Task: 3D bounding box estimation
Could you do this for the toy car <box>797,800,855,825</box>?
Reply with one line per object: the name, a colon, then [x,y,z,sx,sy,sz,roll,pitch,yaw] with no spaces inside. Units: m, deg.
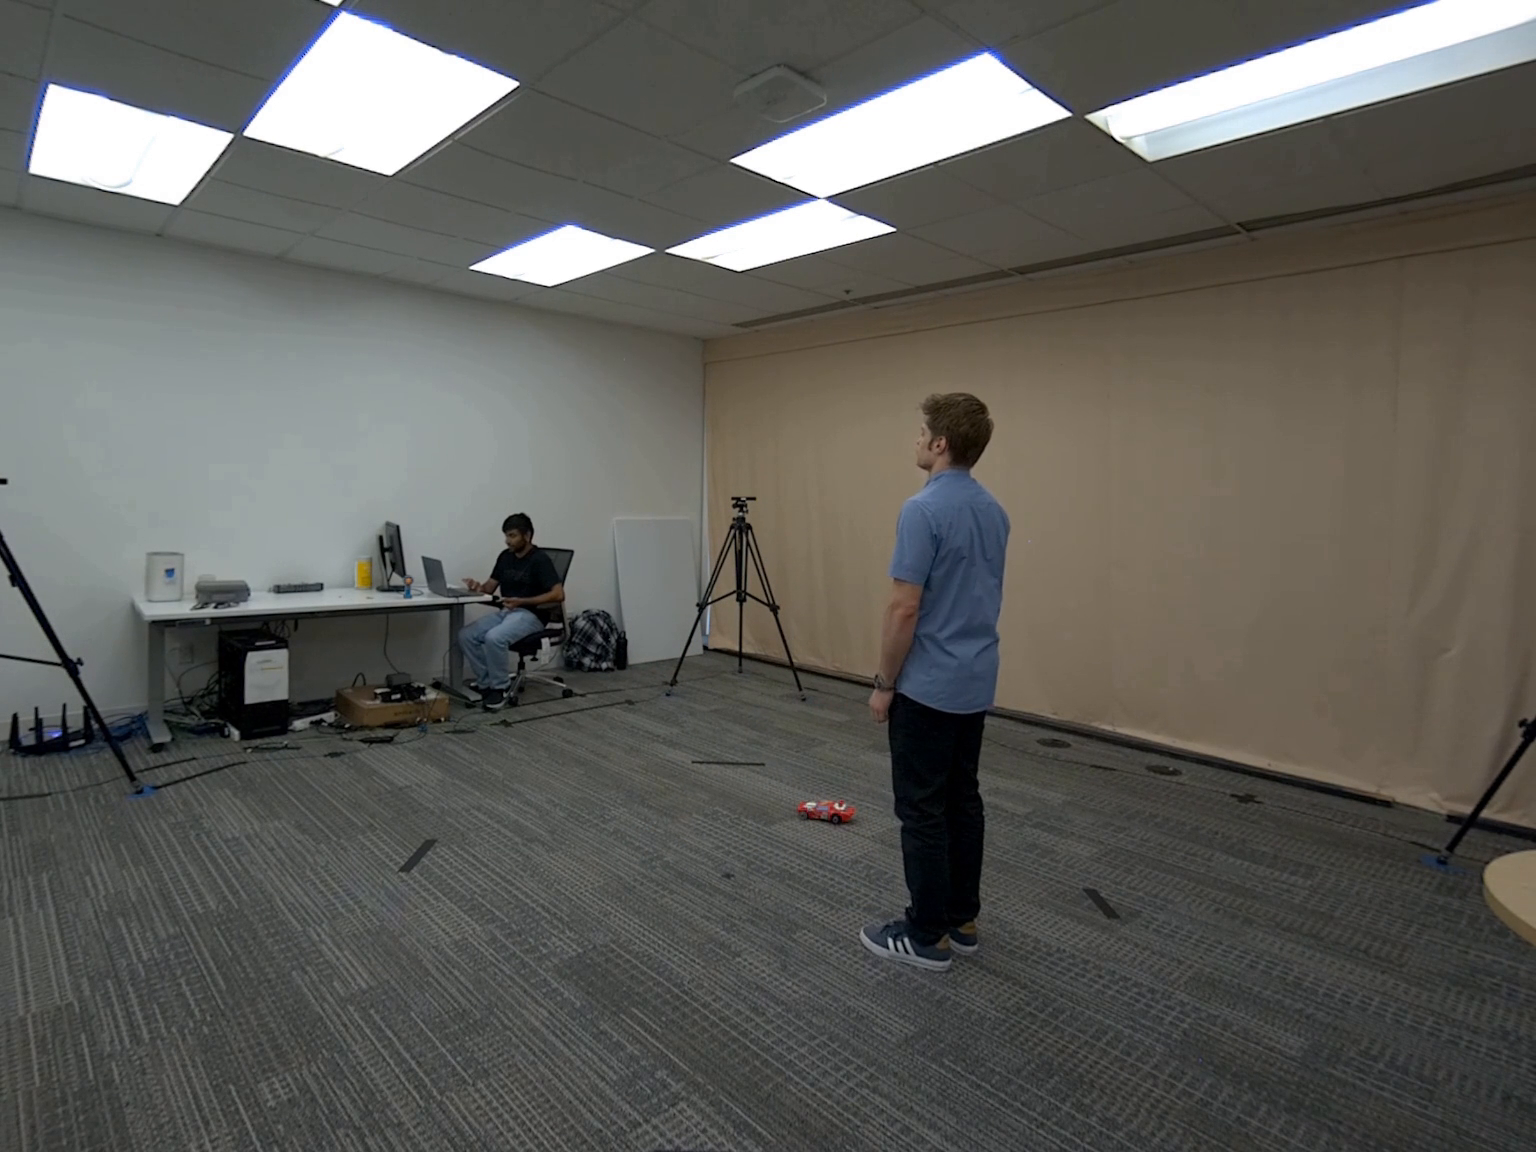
toy car: [0.254,1.034,3.695,0.257,0.083,0.129,-8,1,18]
